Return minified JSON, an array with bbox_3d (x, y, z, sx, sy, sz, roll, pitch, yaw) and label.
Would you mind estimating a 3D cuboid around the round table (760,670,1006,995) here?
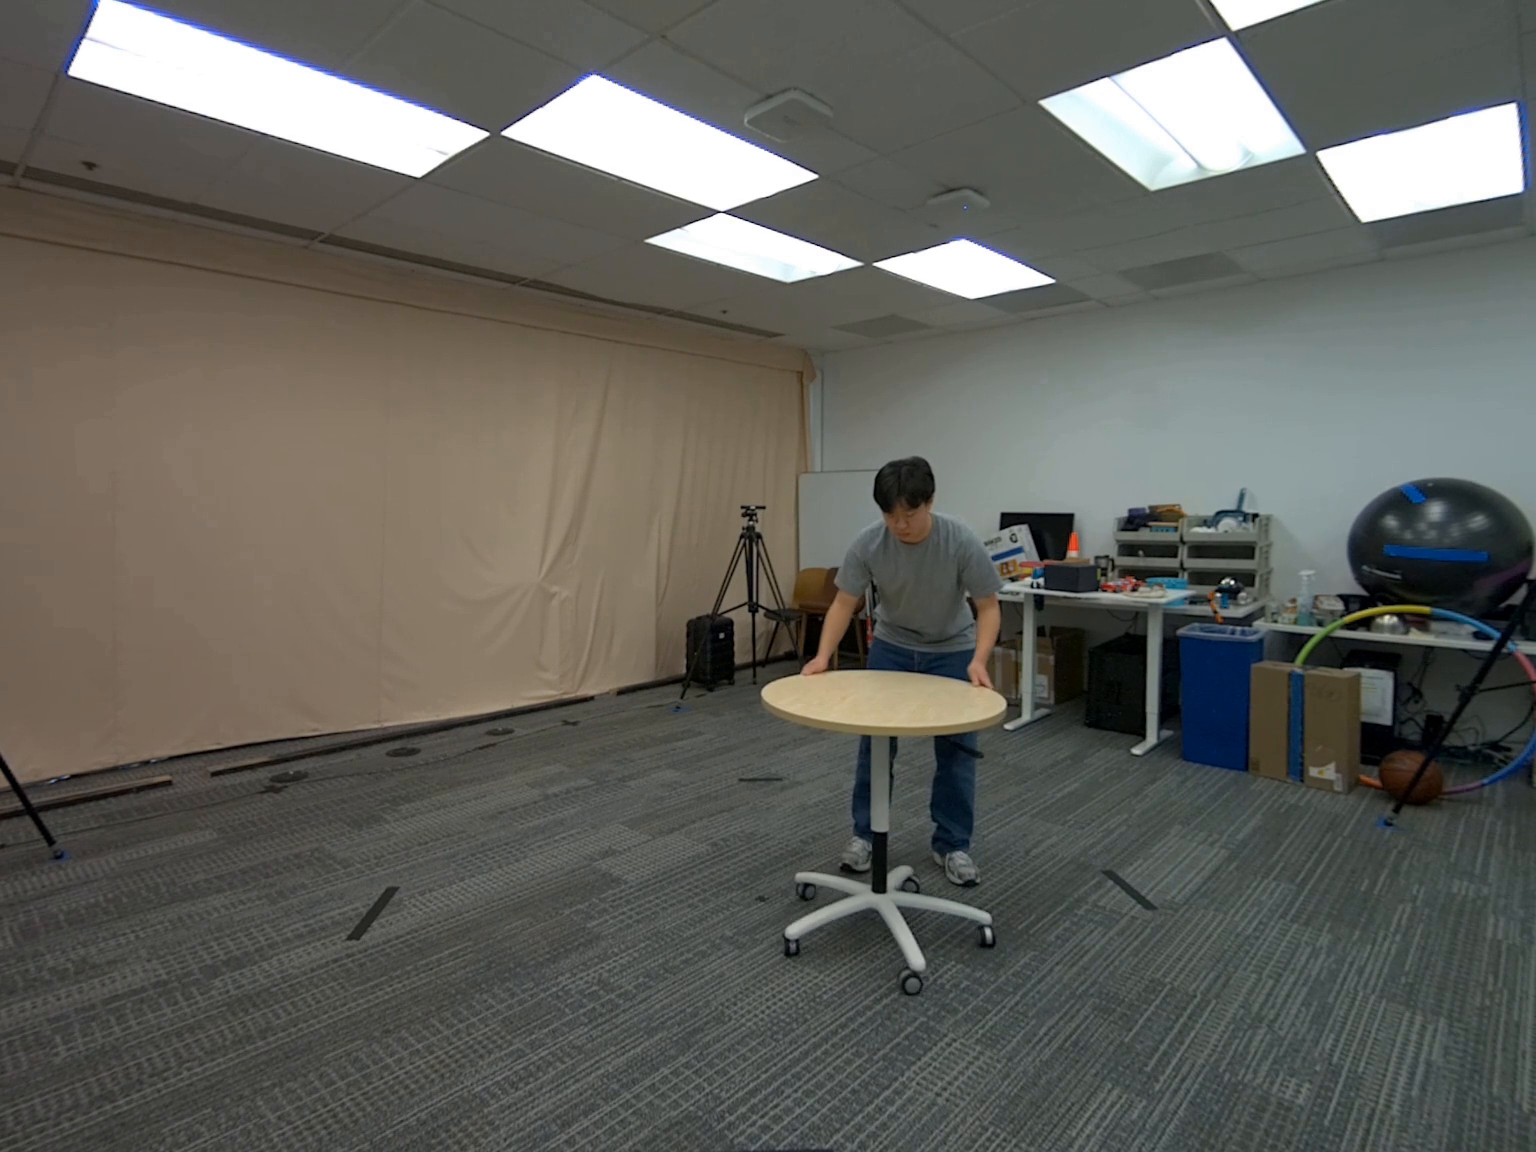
[{"bbox_3d":[0.360,0.774,2.718,0.763,0.792,0.767,0,4,-2],"label":"round table"}]
